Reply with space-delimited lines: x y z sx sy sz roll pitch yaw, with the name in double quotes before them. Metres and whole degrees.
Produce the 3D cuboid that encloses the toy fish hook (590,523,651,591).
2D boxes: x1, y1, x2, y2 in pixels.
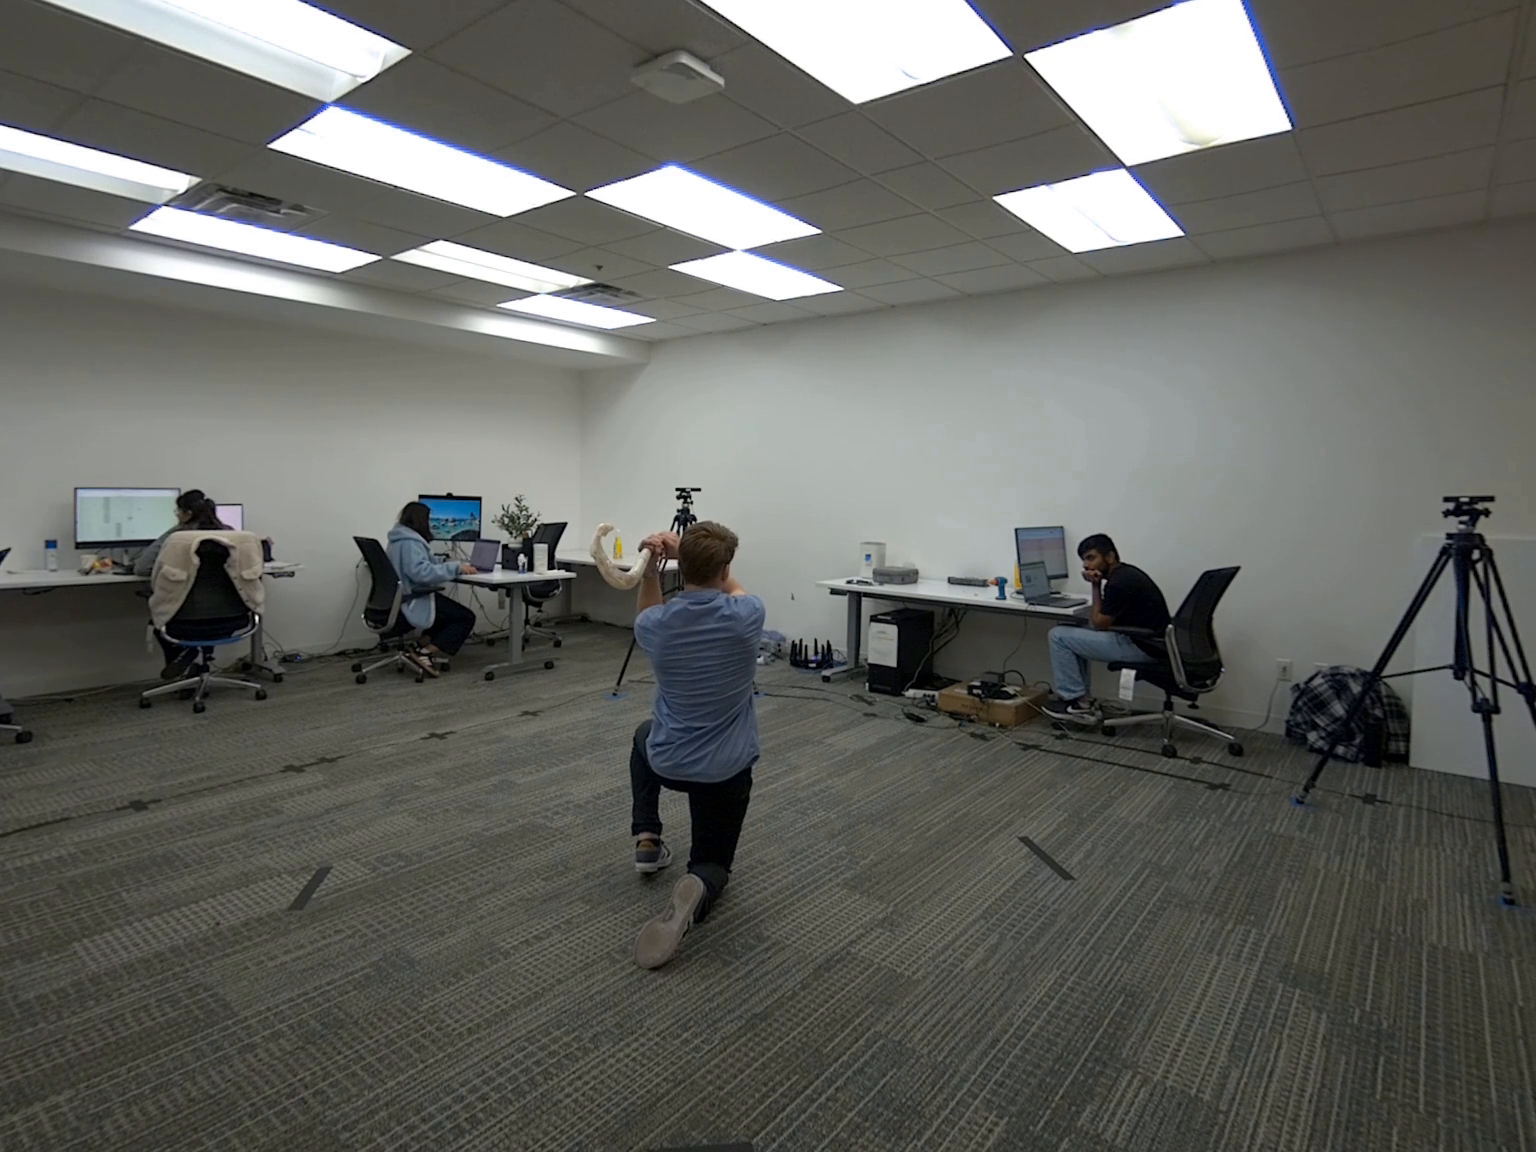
"toy fish hook" -0.465 -0.112 2.860 0.049 0.222 0.506 -22 11 22
